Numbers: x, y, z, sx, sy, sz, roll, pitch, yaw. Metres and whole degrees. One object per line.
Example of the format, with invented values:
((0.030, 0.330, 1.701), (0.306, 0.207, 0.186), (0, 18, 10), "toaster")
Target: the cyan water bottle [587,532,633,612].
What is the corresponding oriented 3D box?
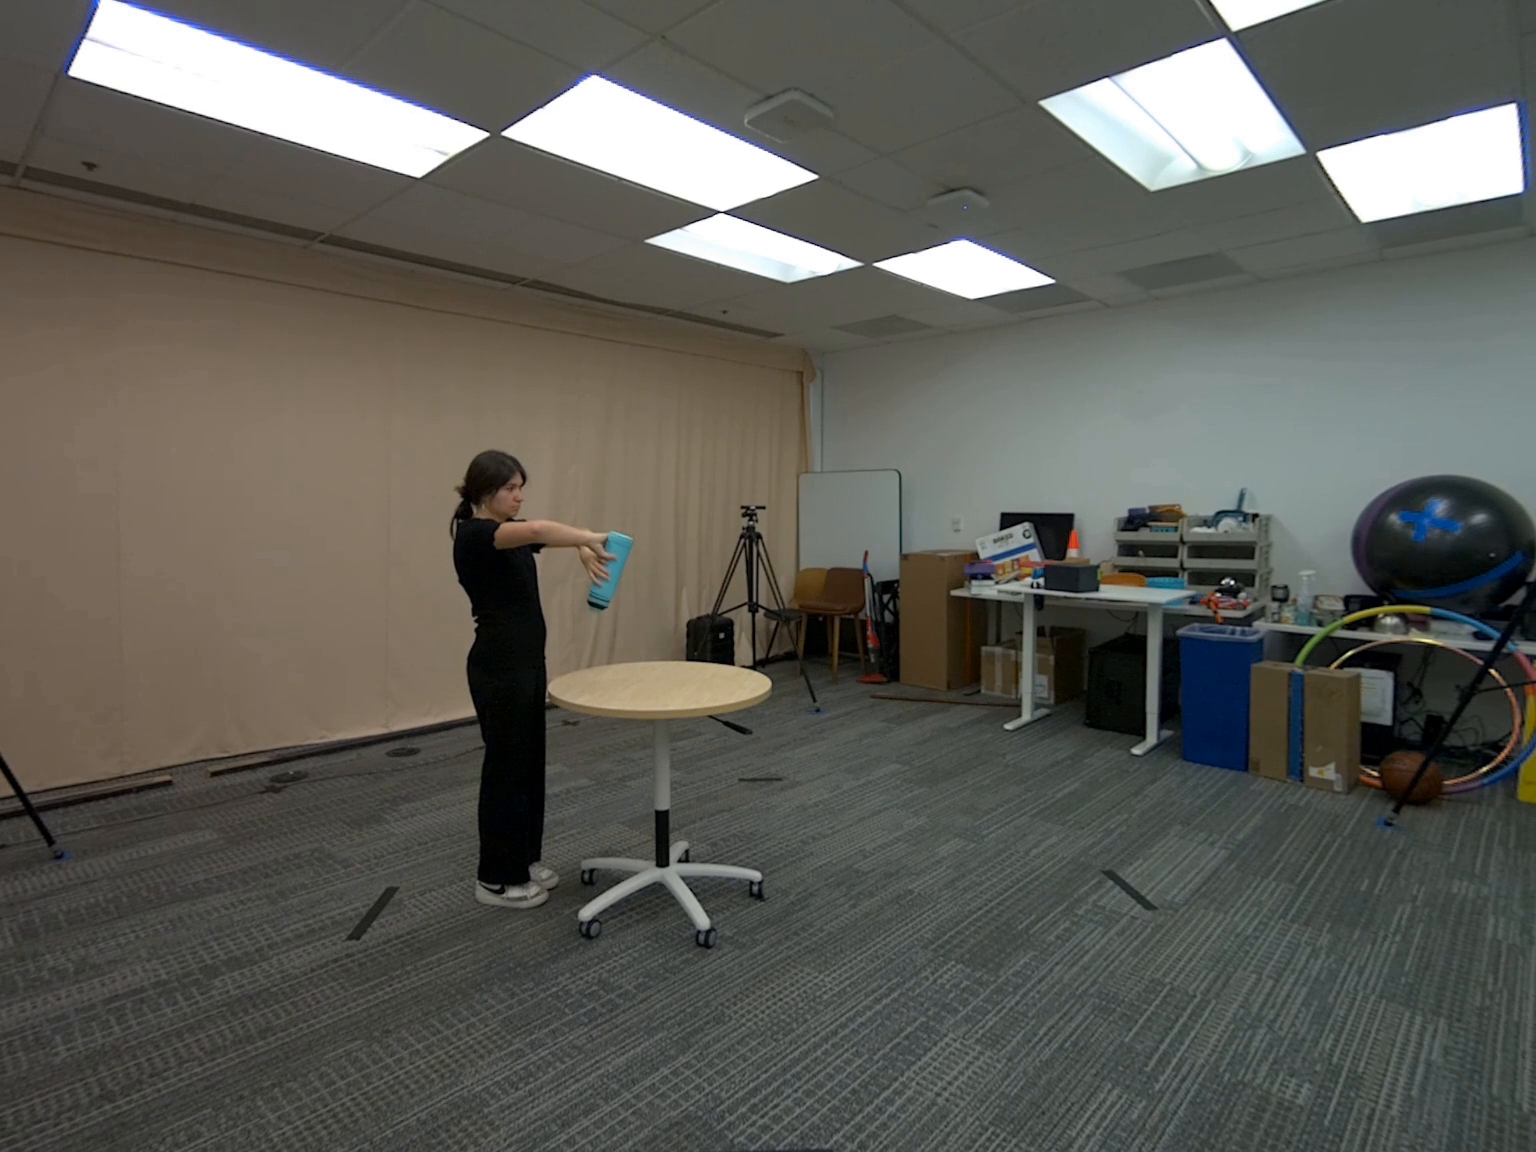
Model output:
((-0.564, -0.008, 2.937), (0.092, 0.283, 0.093), (16, 3, -3), "cyan water bottle")
